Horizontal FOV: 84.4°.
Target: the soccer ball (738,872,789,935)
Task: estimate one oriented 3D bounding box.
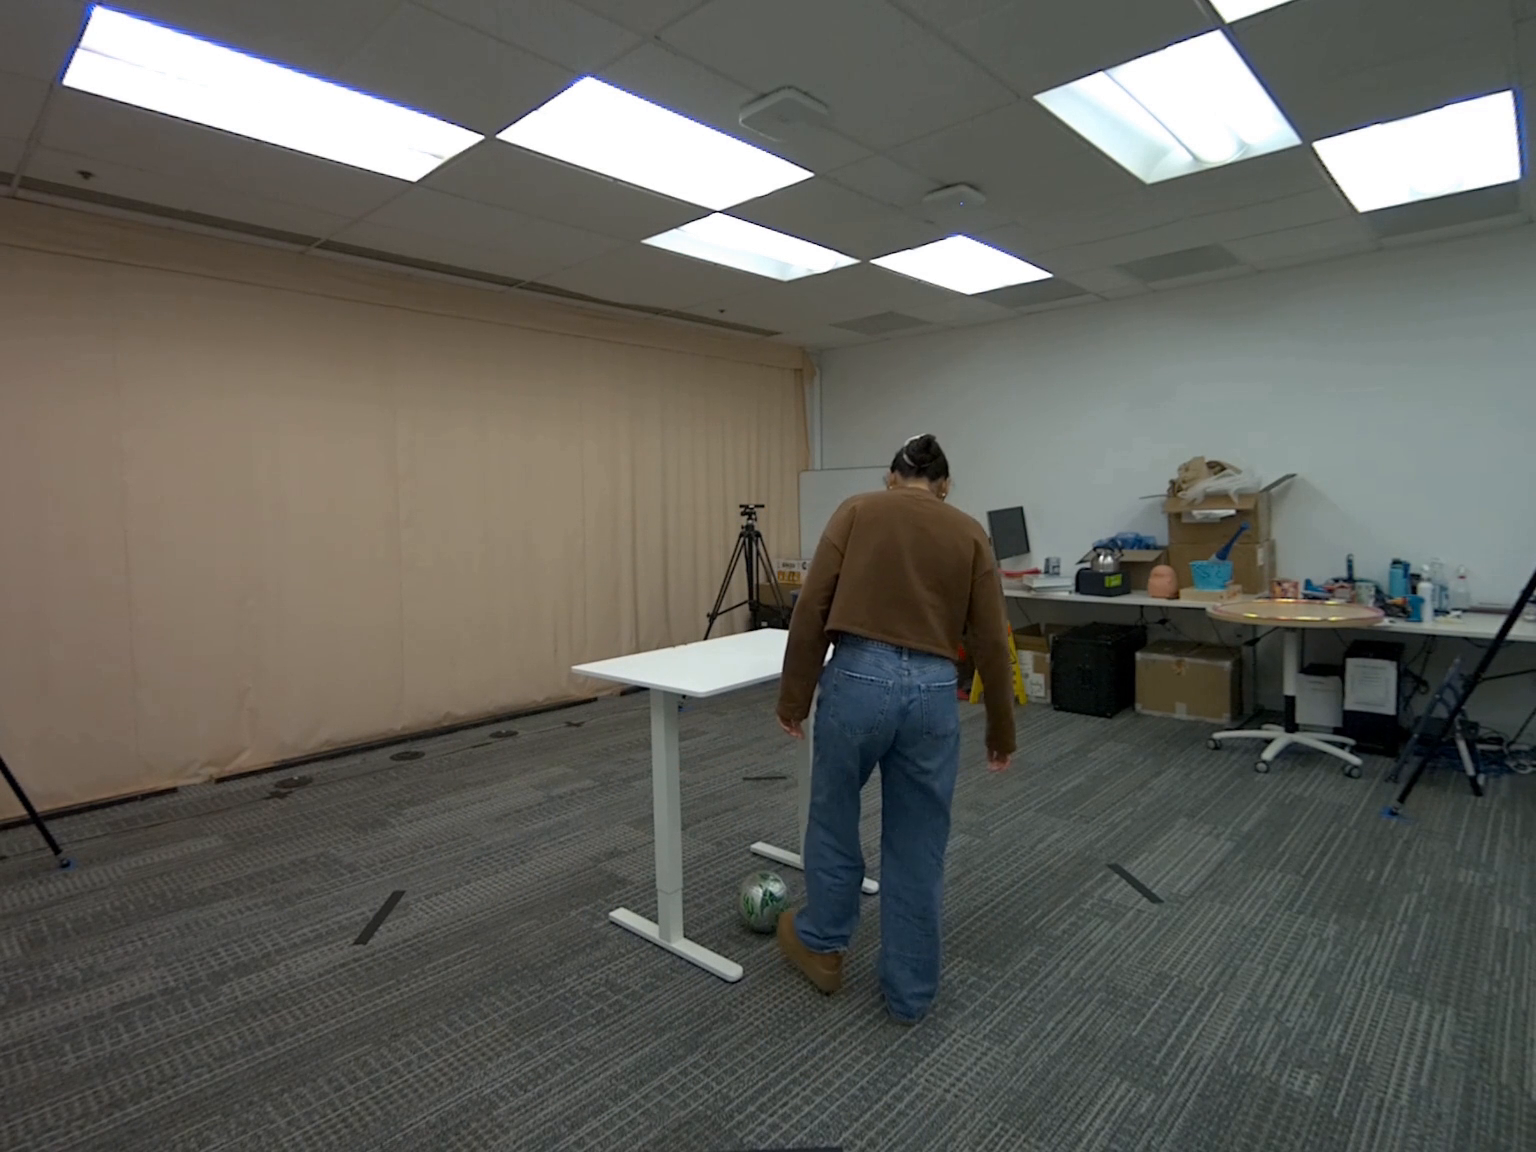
[{"bbox_3d":[-0.013,1.066,2.757,0.187,0.187,0.188,-1,4,-2],"label":"soccer ball"}]
